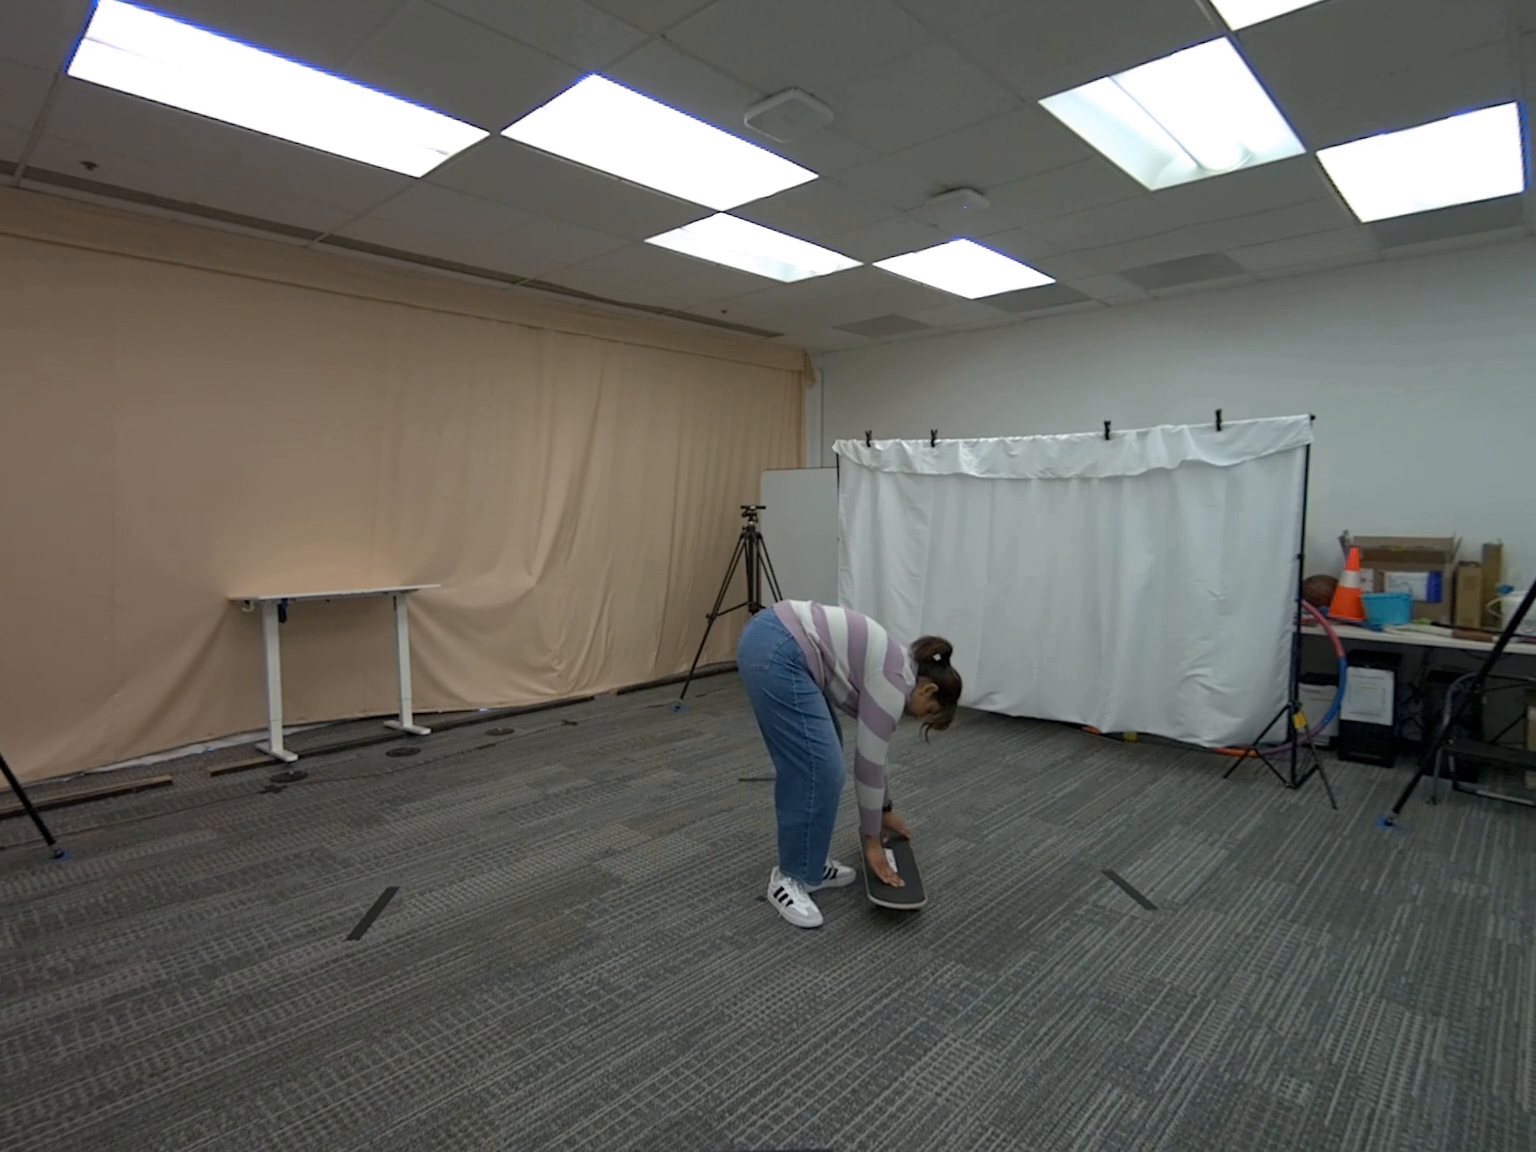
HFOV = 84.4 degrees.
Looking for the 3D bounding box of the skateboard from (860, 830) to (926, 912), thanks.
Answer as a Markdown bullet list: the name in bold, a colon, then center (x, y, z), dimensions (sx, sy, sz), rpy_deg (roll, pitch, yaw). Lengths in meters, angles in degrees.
- **skateboard**: center (0.446, 1.073, 3.086), dimensions (0.194, 0.110, 0.783), rpy_deg (-1, 5, 3)
